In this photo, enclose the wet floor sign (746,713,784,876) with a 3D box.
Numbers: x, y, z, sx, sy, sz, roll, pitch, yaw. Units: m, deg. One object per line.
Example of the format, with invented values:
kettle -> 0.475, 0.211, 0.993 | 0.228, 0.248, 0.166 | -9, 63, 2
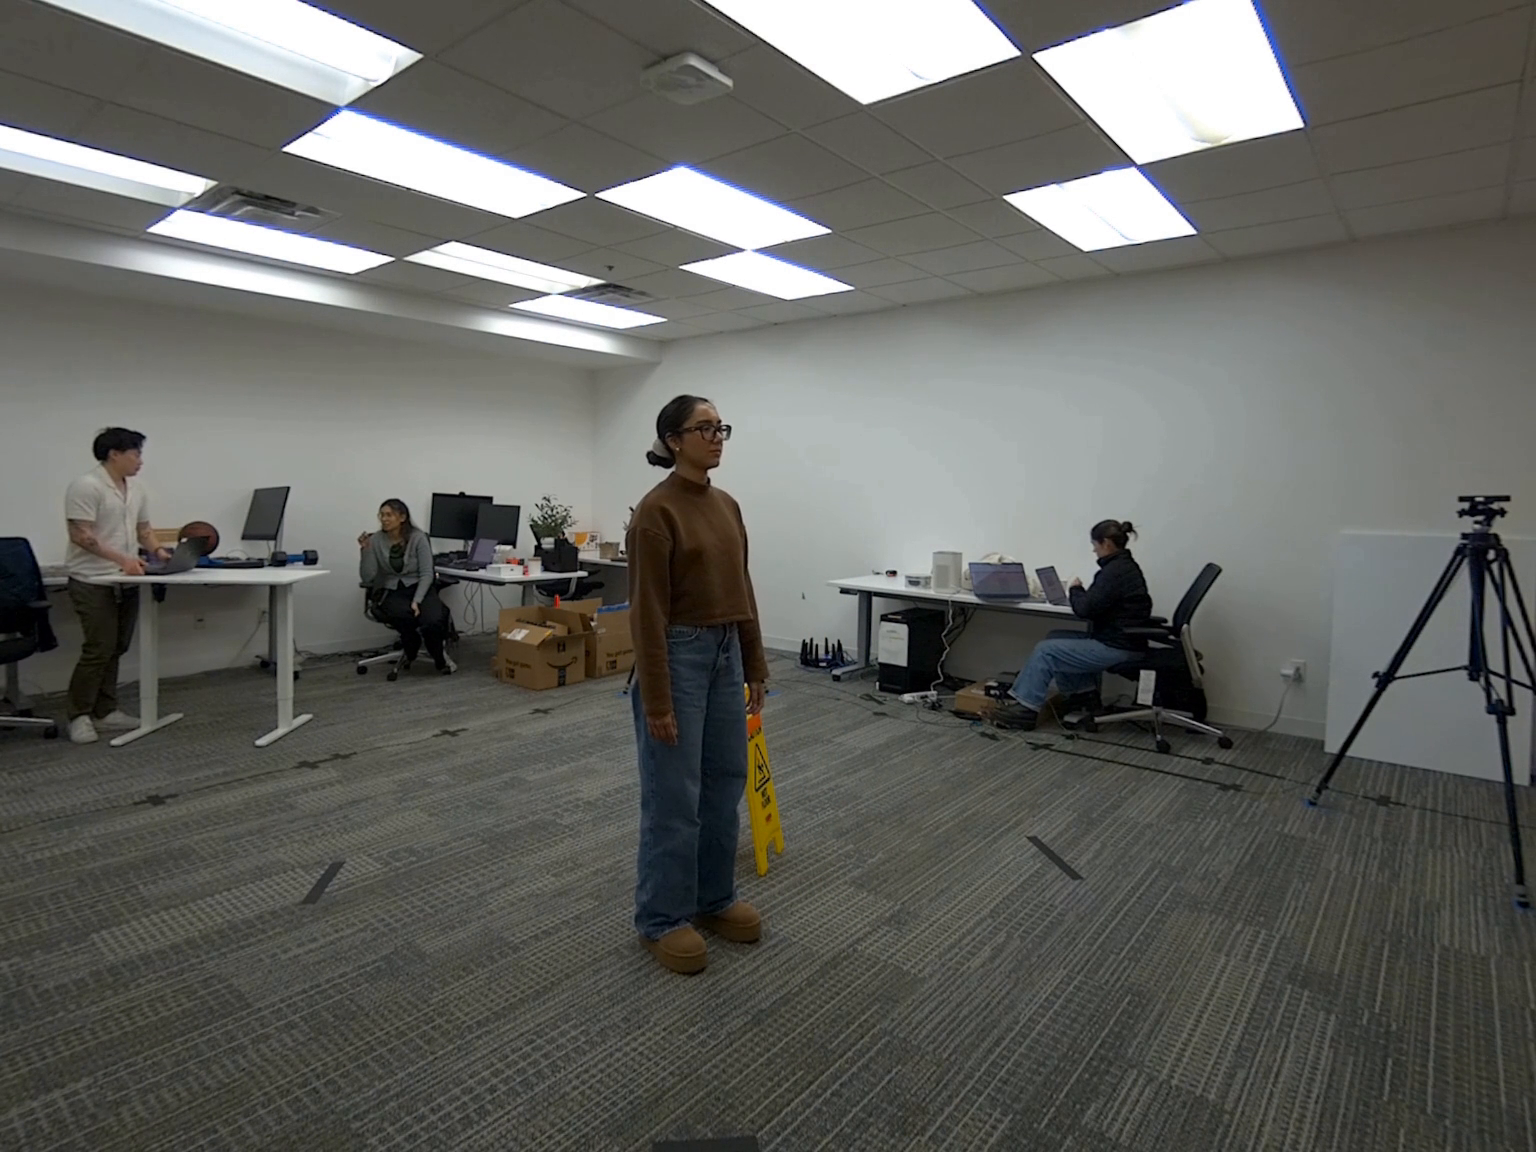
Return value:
wet floor sign -> -0.104, 0.733, 3.204 | 0.296, 0.644, 0.277 | 3, 4, 19
